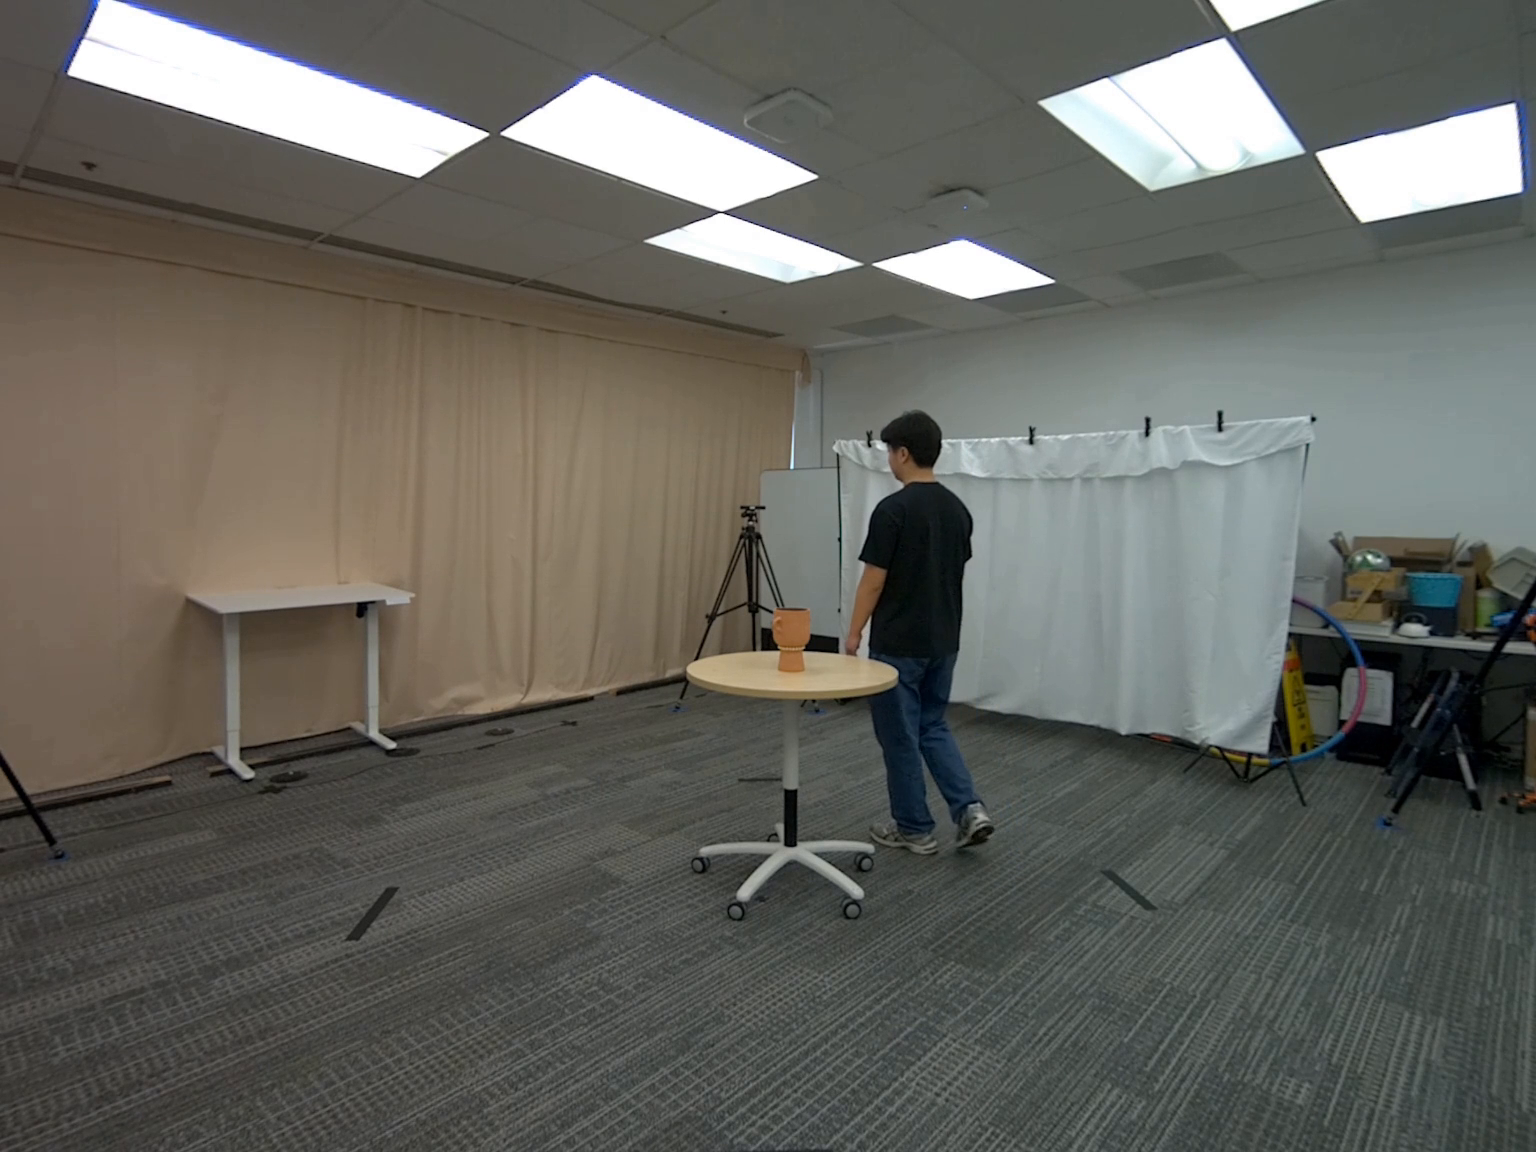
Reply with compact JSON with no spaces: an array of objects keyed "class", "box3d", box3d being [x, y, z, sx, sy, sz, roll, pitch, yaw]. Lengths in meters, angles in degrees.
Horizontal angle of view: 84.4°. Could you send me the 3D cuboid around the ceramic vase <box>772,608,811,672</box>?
[{"class":"ceramic vase","box3d":[0.090,0.235,3.050,0.158,0.219,0.135,1,3,-4]}]
